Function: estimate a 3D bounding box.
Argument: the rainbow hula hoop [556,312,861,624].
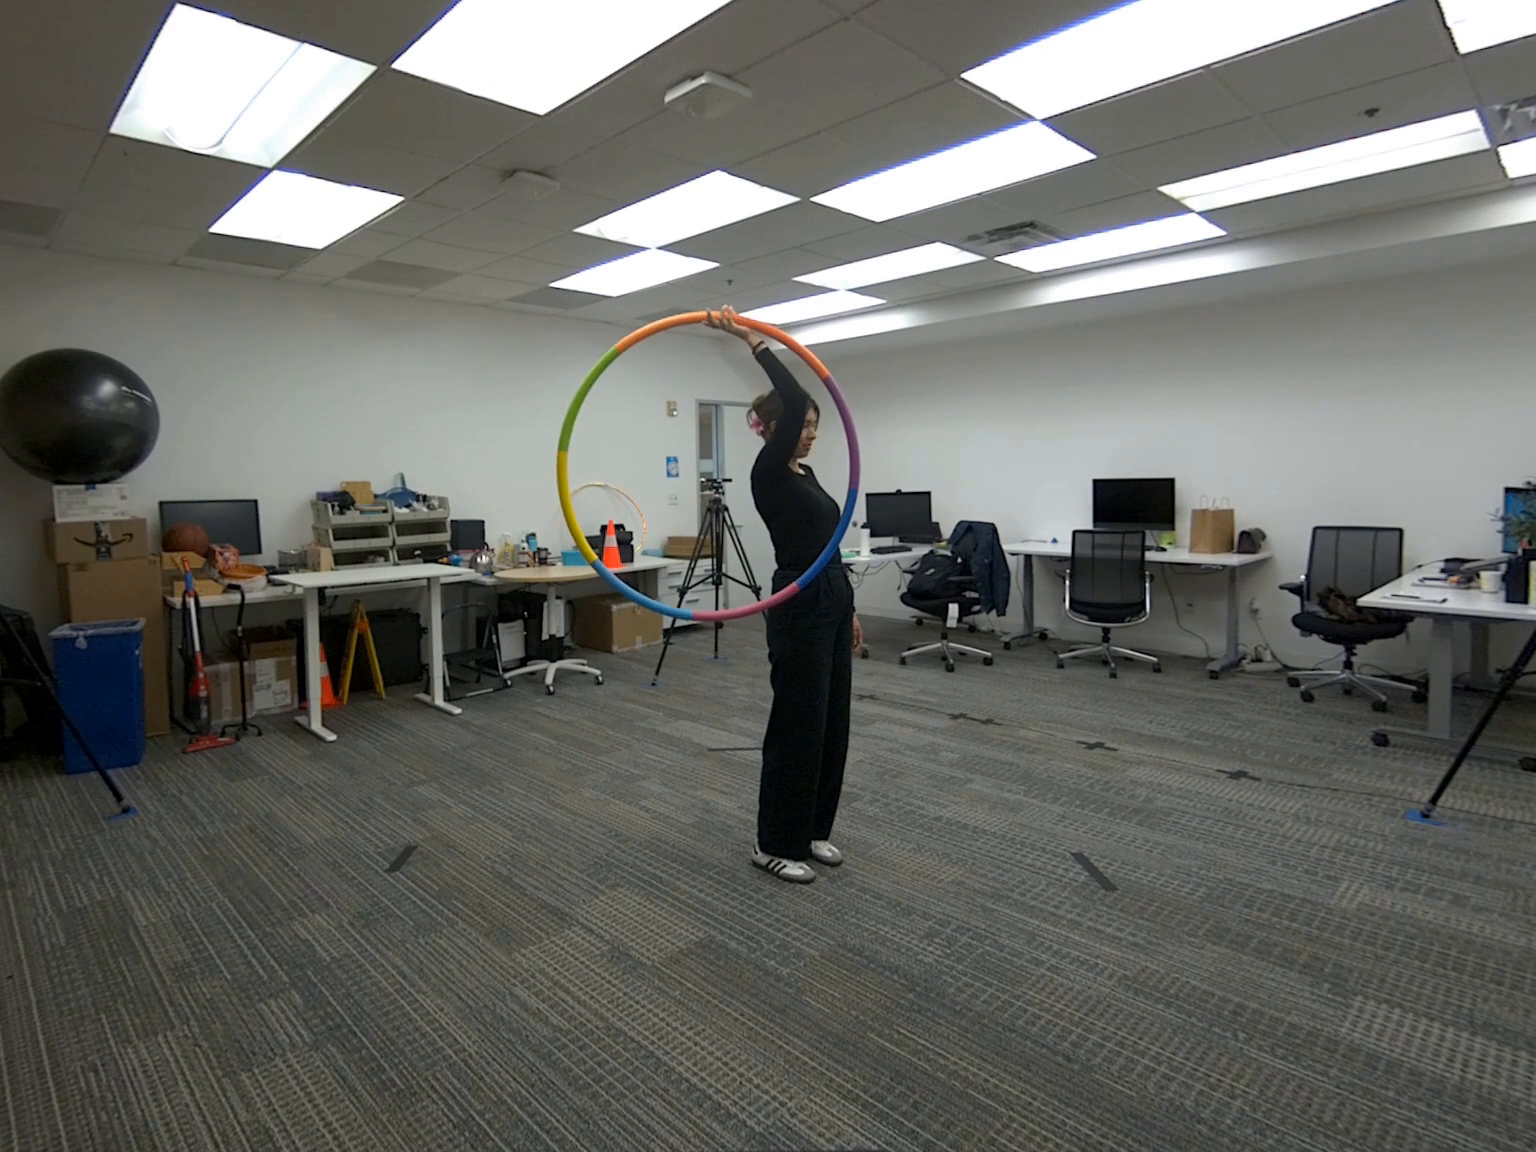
[{"bbox_3d":[-0.195,-0.355,2.754,0.983,0.980,0.052,-1,6,-3],"label":"rainbow hula hoop"}]
